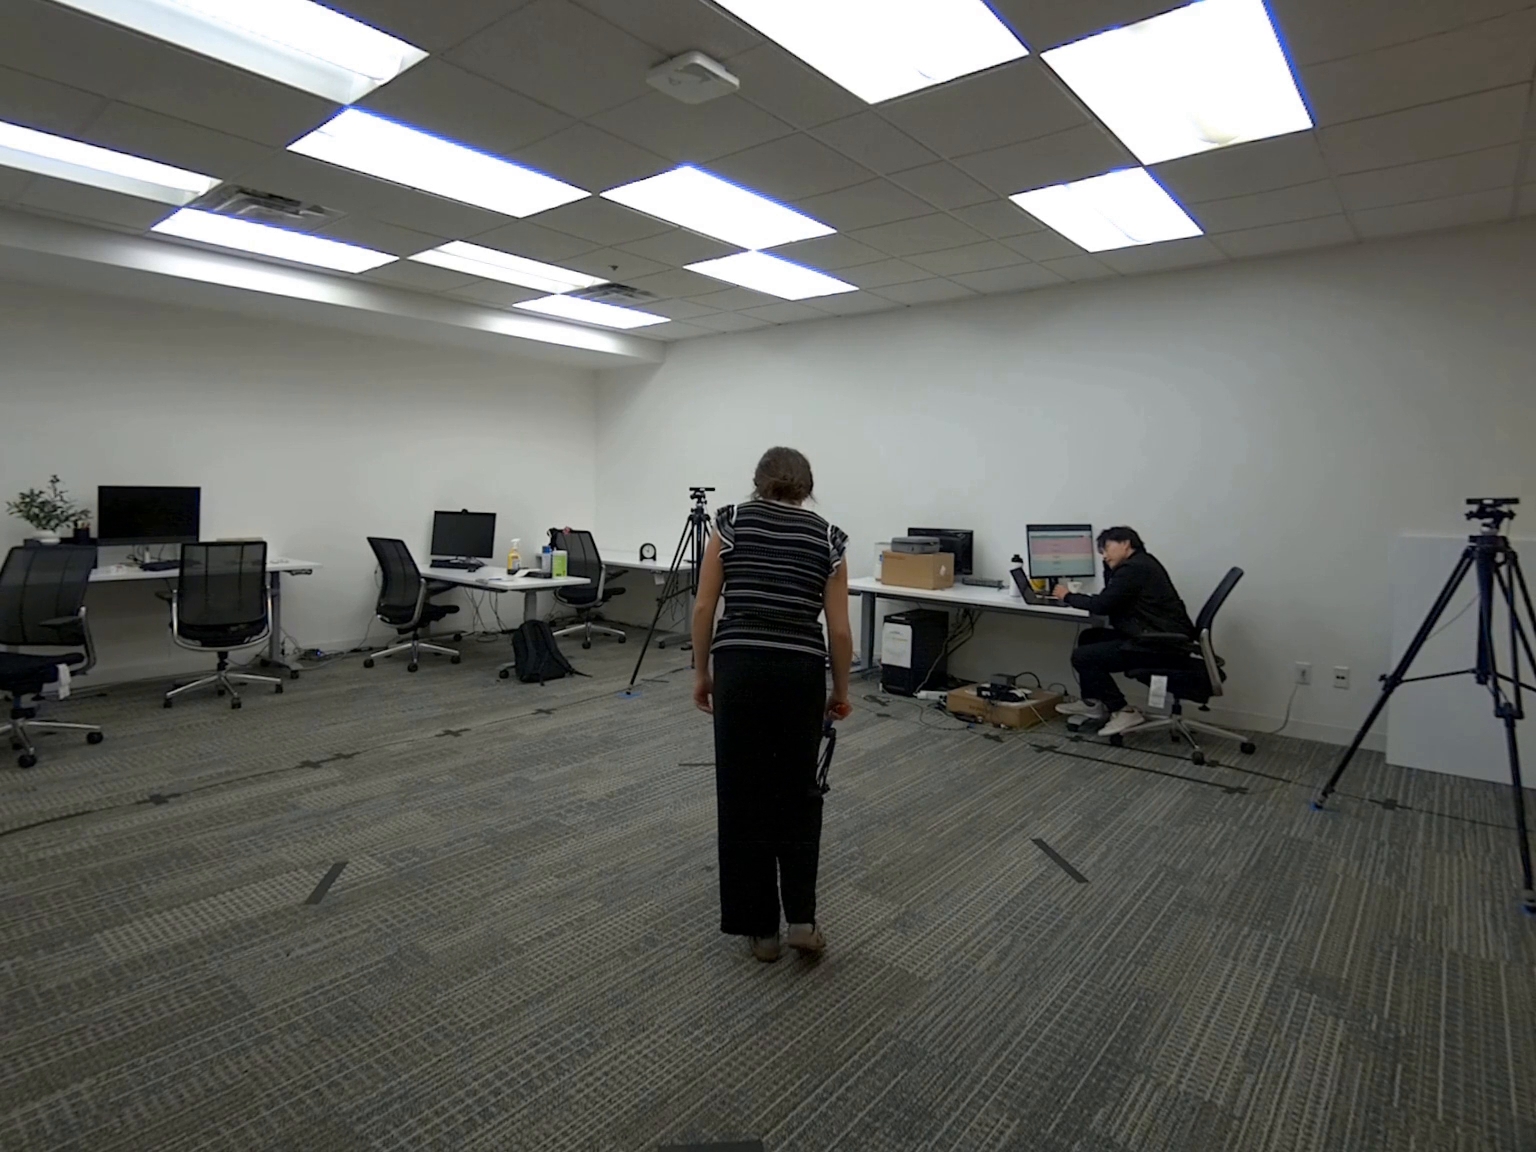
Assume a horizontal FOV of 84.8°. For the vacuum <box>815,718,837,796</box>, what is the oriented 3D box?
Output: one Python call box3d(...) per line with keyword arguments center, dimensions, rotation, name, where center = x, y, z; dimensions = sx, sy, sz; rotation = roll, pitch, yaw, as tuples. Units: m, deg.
box3d(center=(0.127, 0.717, 3.039), dimensions=(0.249, 0.149, 1.028), rotation=(-1, -37, -13), name="vacuum")
